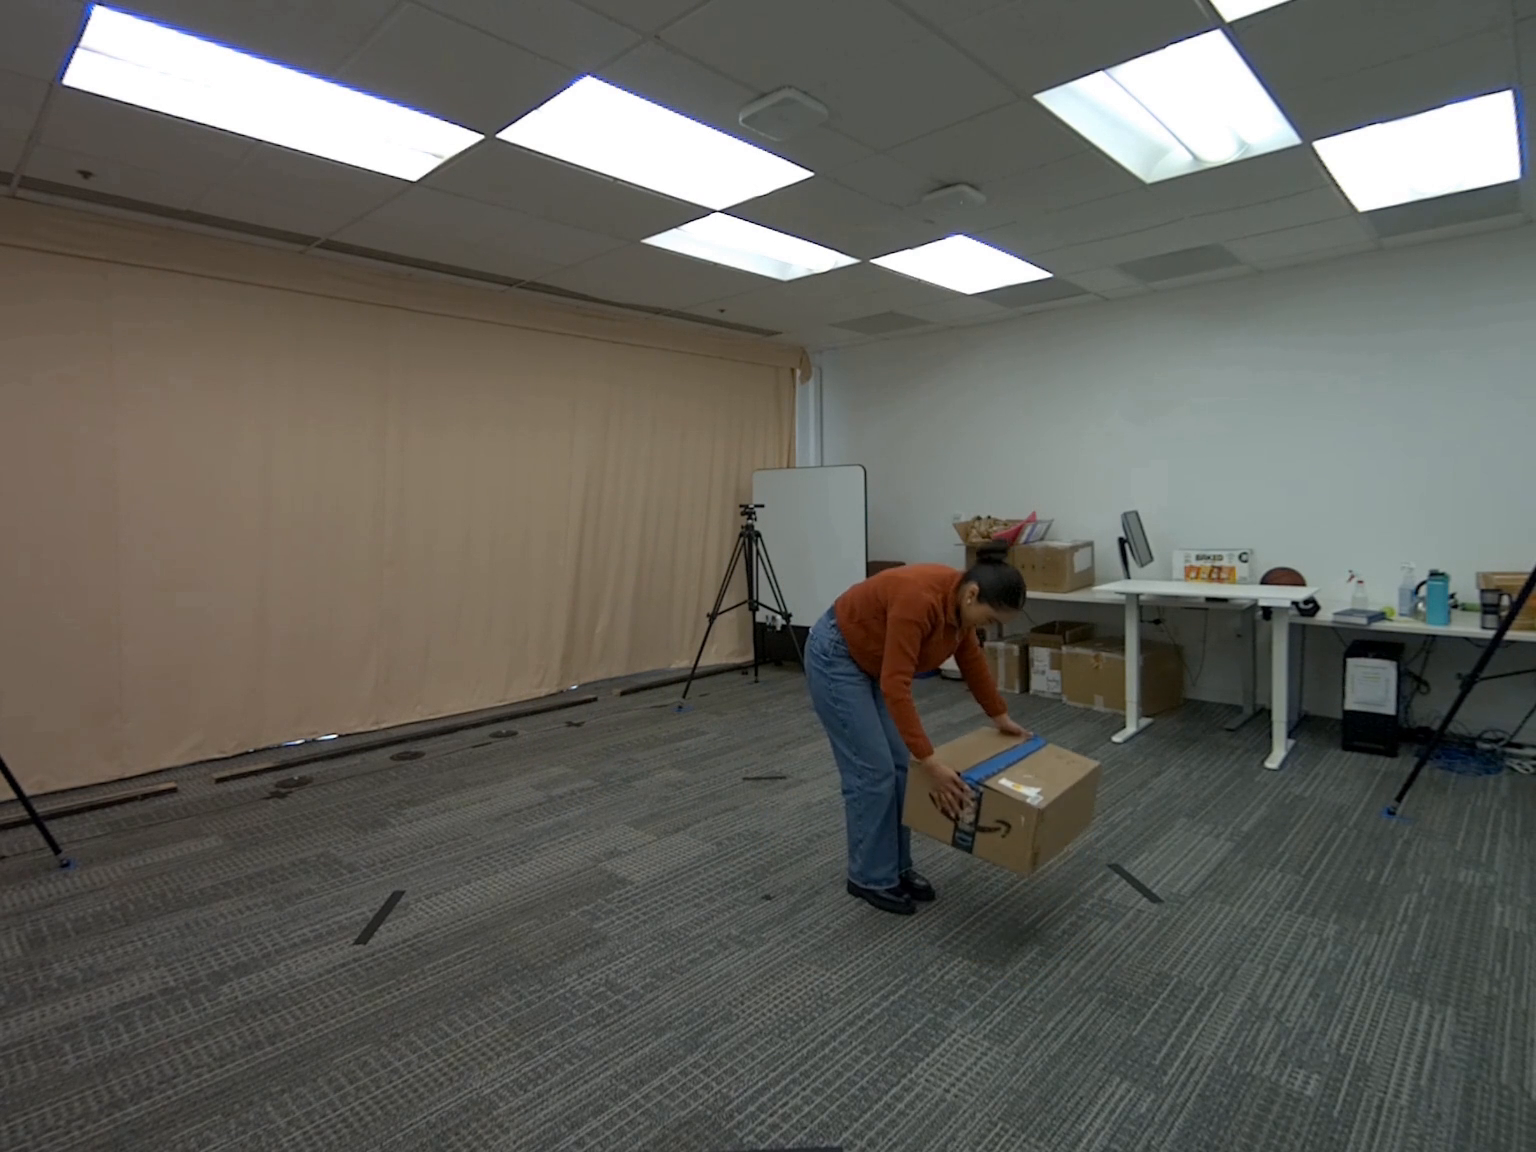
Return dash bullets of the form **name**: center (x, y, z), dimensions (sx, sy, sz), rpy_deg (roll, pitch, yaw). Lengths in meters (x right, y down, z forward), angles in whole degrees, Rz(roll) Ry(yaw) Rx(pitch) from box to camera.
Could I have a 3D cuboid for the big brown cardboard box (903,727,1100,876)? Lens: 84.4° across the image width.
- **big brown cardboard box**: center (0.773, 0.703, 2.730), dimensions (0.432, 0.232, 0.571), rpy_deg (12, 10, 38)
